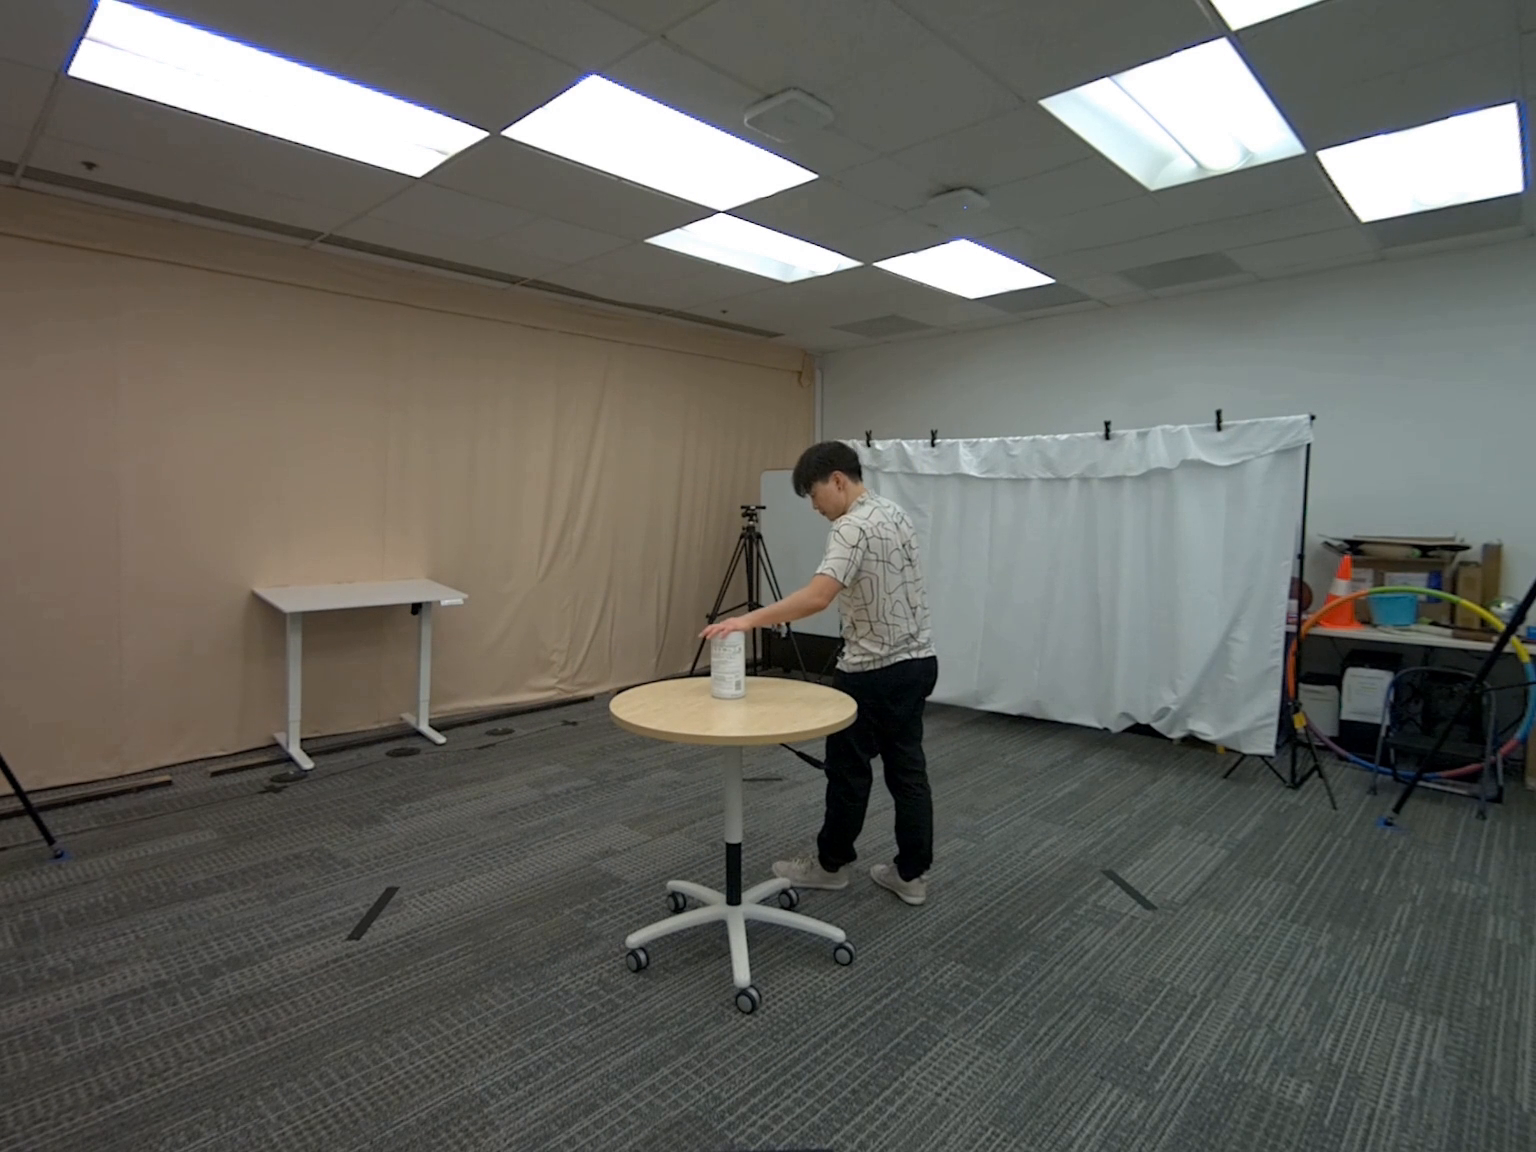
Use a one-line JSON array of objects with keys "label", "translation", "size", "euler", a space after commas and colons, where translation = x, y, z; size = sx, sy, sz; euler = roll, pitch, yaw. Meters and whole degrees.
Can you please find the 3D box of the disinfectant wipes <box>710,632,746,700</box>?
[{"label": "disinfectant wipes", "translation": [-0.123, 0.284, 2.697], "size": [0.118, 0.217, 0.118], "euler": [1, 2, -2]}]
